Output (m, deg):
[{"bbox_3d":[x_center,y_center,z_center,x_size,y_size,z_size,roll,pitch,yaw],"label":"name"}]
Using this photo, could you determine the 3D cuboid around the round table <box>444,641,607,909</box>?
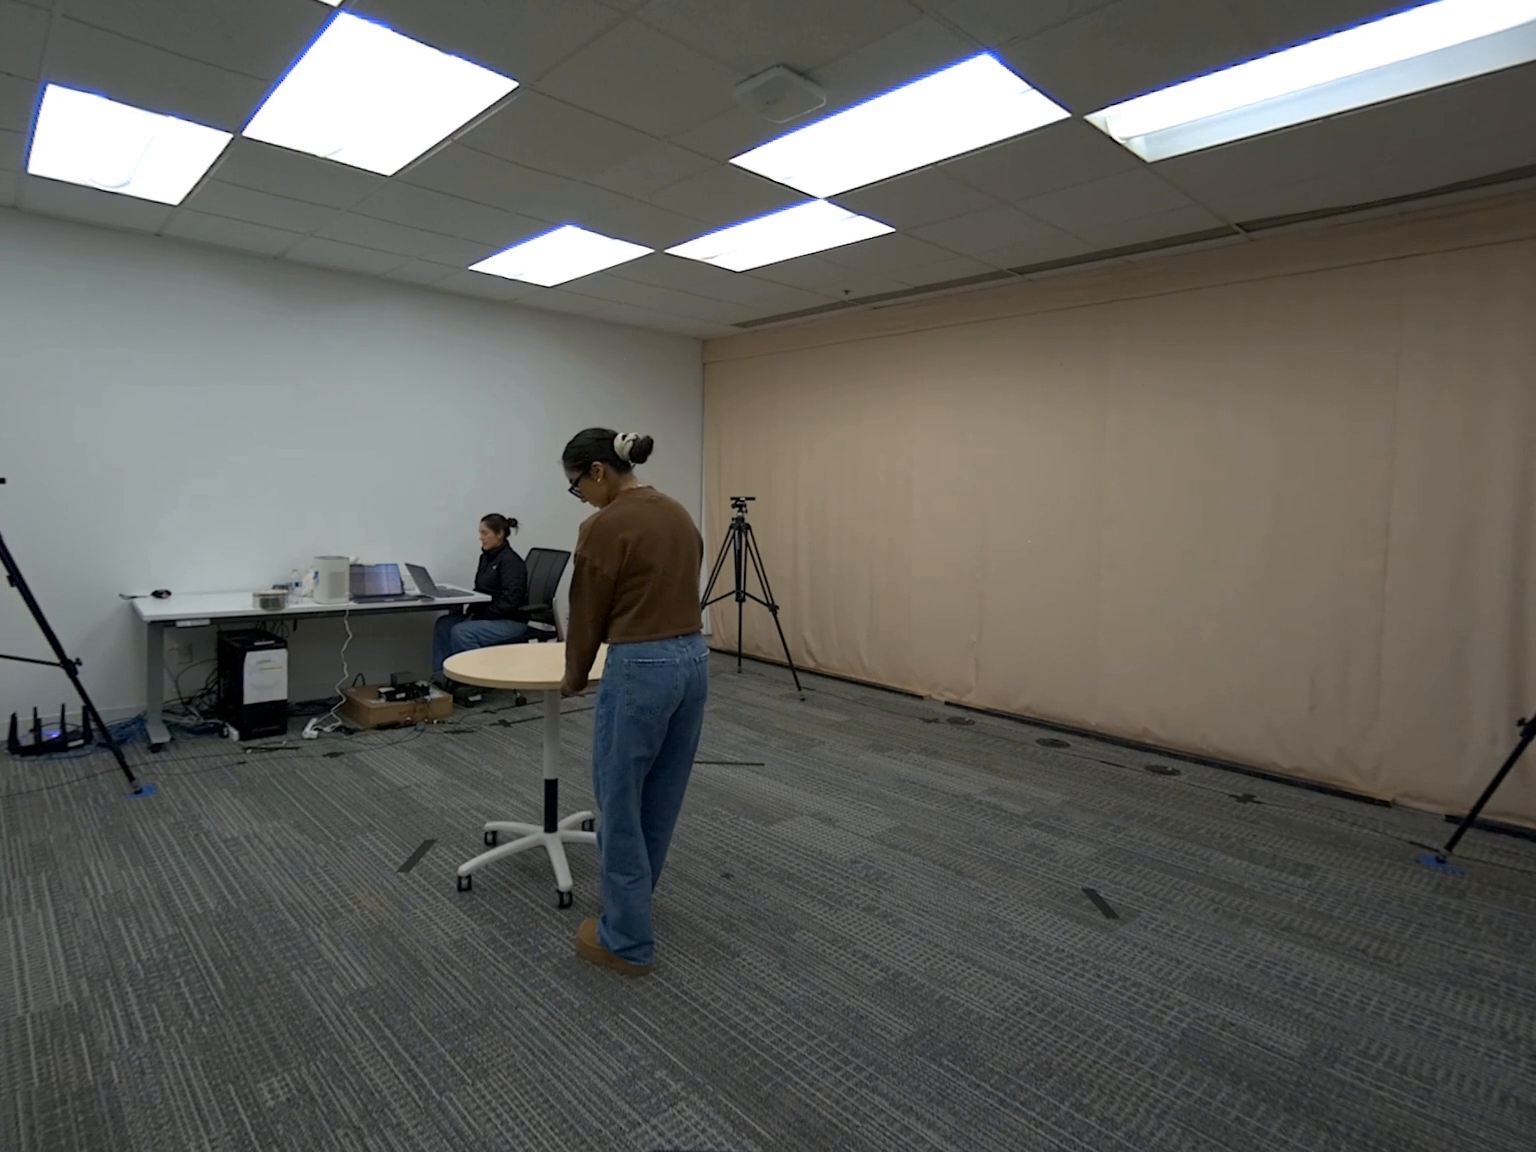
[{"bbox_3d":[-0.806,0.703,3.119,0.763,0.792,0.766,1,4,-1],"label":"round table"}]
